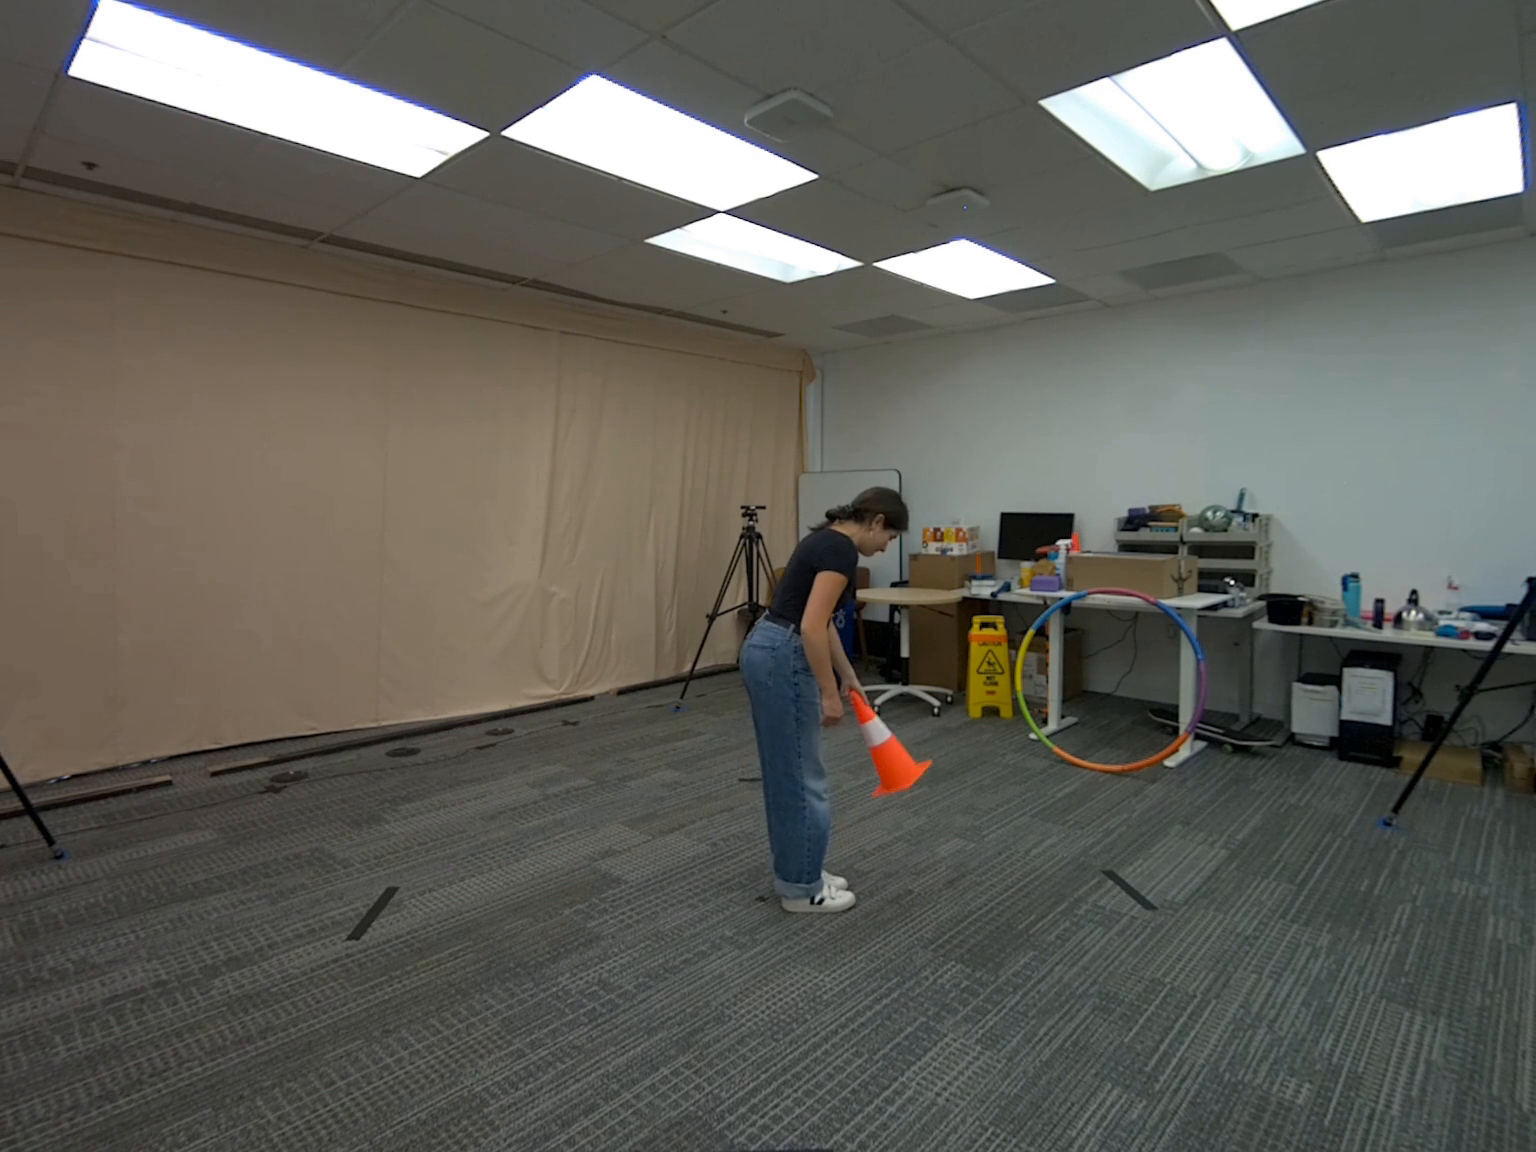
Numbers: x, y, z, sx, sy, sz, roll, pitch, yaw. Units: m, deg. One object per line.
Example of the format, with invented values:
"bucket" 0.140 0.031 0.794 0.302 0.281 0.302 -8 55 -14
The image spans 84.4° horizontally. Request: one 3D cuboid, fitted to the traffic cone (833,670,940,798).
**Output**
"traffic cone" 0.427 0.593 3.191 0.209 0.383 0.200 -29 2 39
